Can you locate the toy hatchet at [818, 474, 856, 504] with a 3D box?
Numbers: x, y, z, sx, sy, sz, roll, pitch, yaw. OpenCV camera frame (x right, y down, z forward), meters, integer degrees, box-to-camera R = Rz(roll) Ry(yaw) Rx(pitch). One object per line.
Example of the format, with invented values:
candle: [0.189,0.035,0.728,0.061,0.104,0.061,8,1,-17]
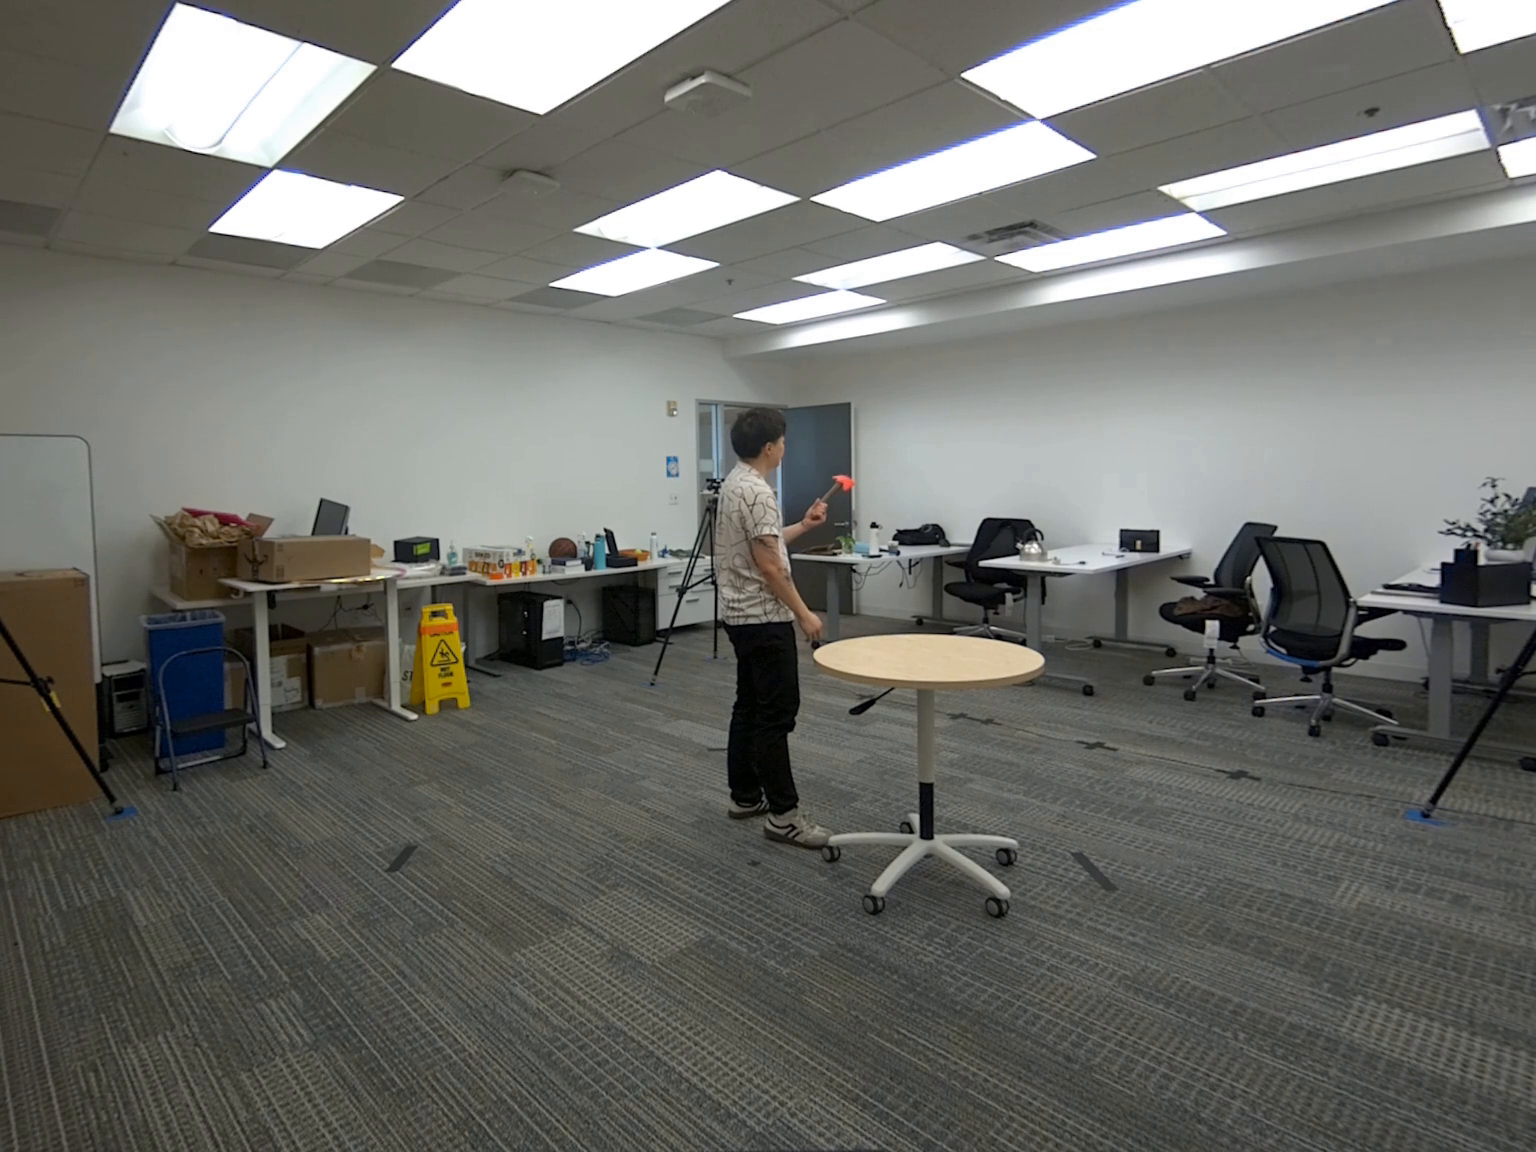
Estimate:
toy hatchet: [0.287,-0.343,3.737,0.135,0.028,0.272,5,50,35]
